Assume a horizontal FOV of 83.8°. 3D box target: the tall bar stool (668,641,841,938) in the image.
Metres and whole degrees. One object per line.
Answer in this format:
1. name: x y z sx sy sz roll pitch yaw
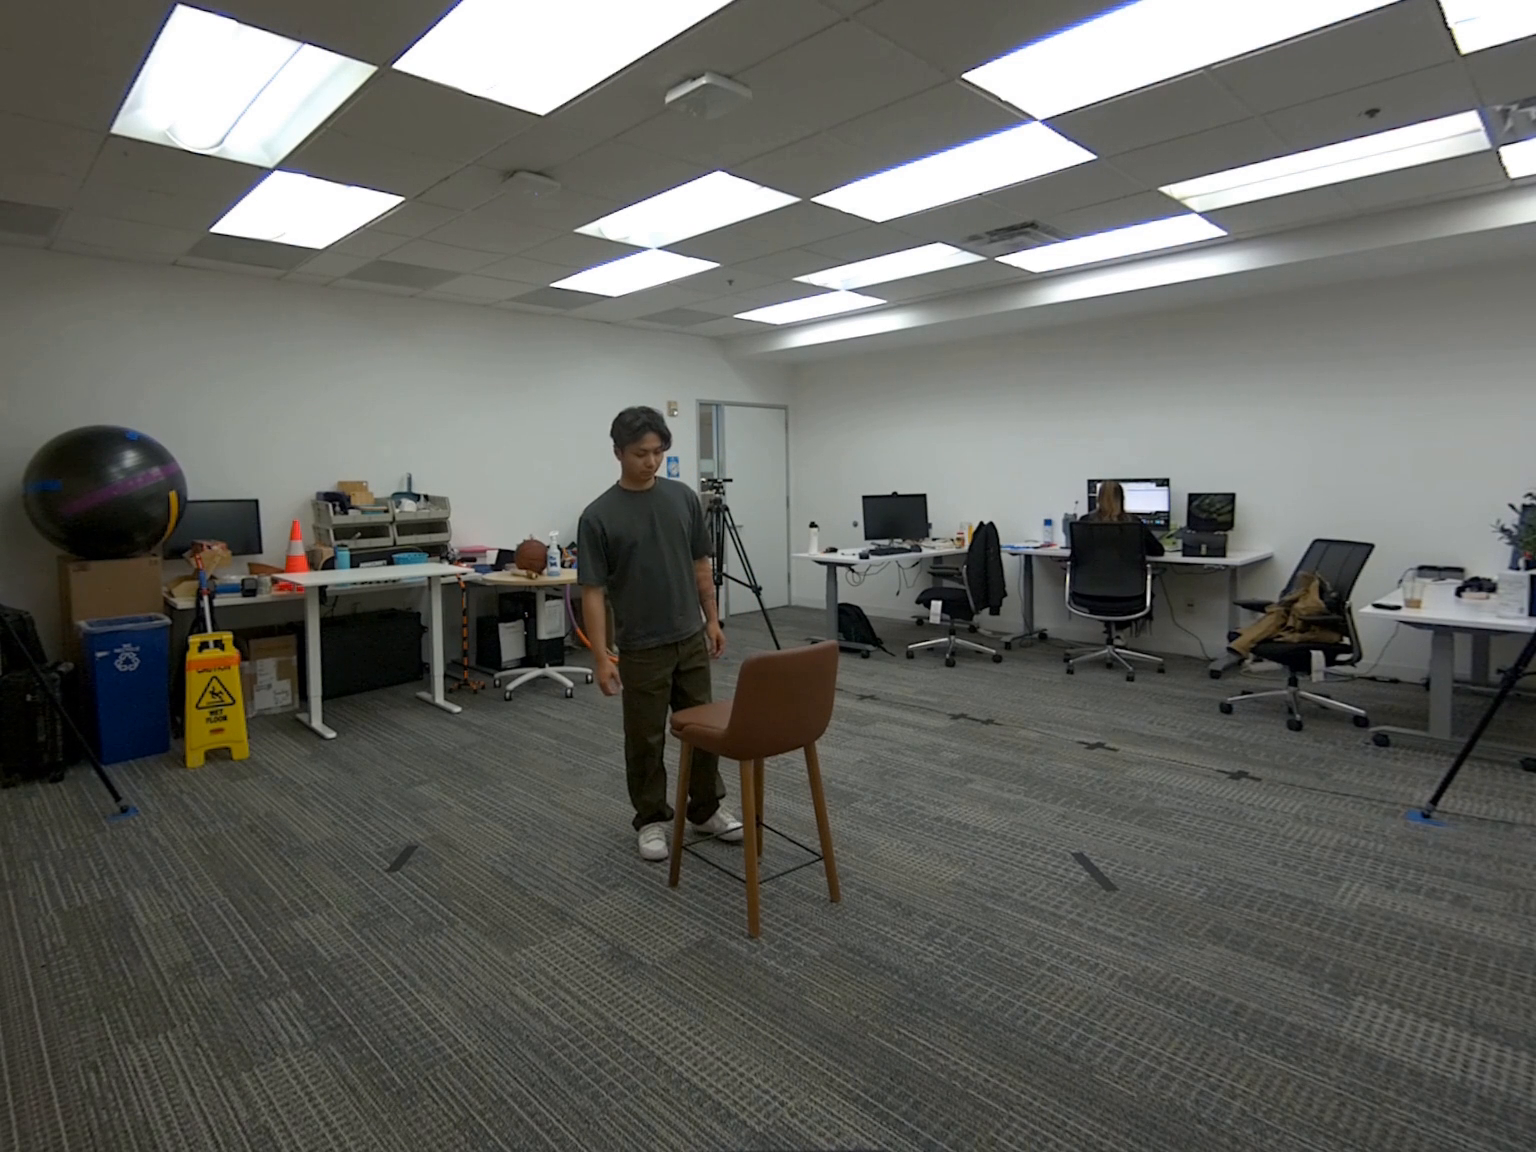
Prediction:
1. tall bar stool: -0.044 0.640 2.855 0.444 0.885 0.482 -4 7 -38
